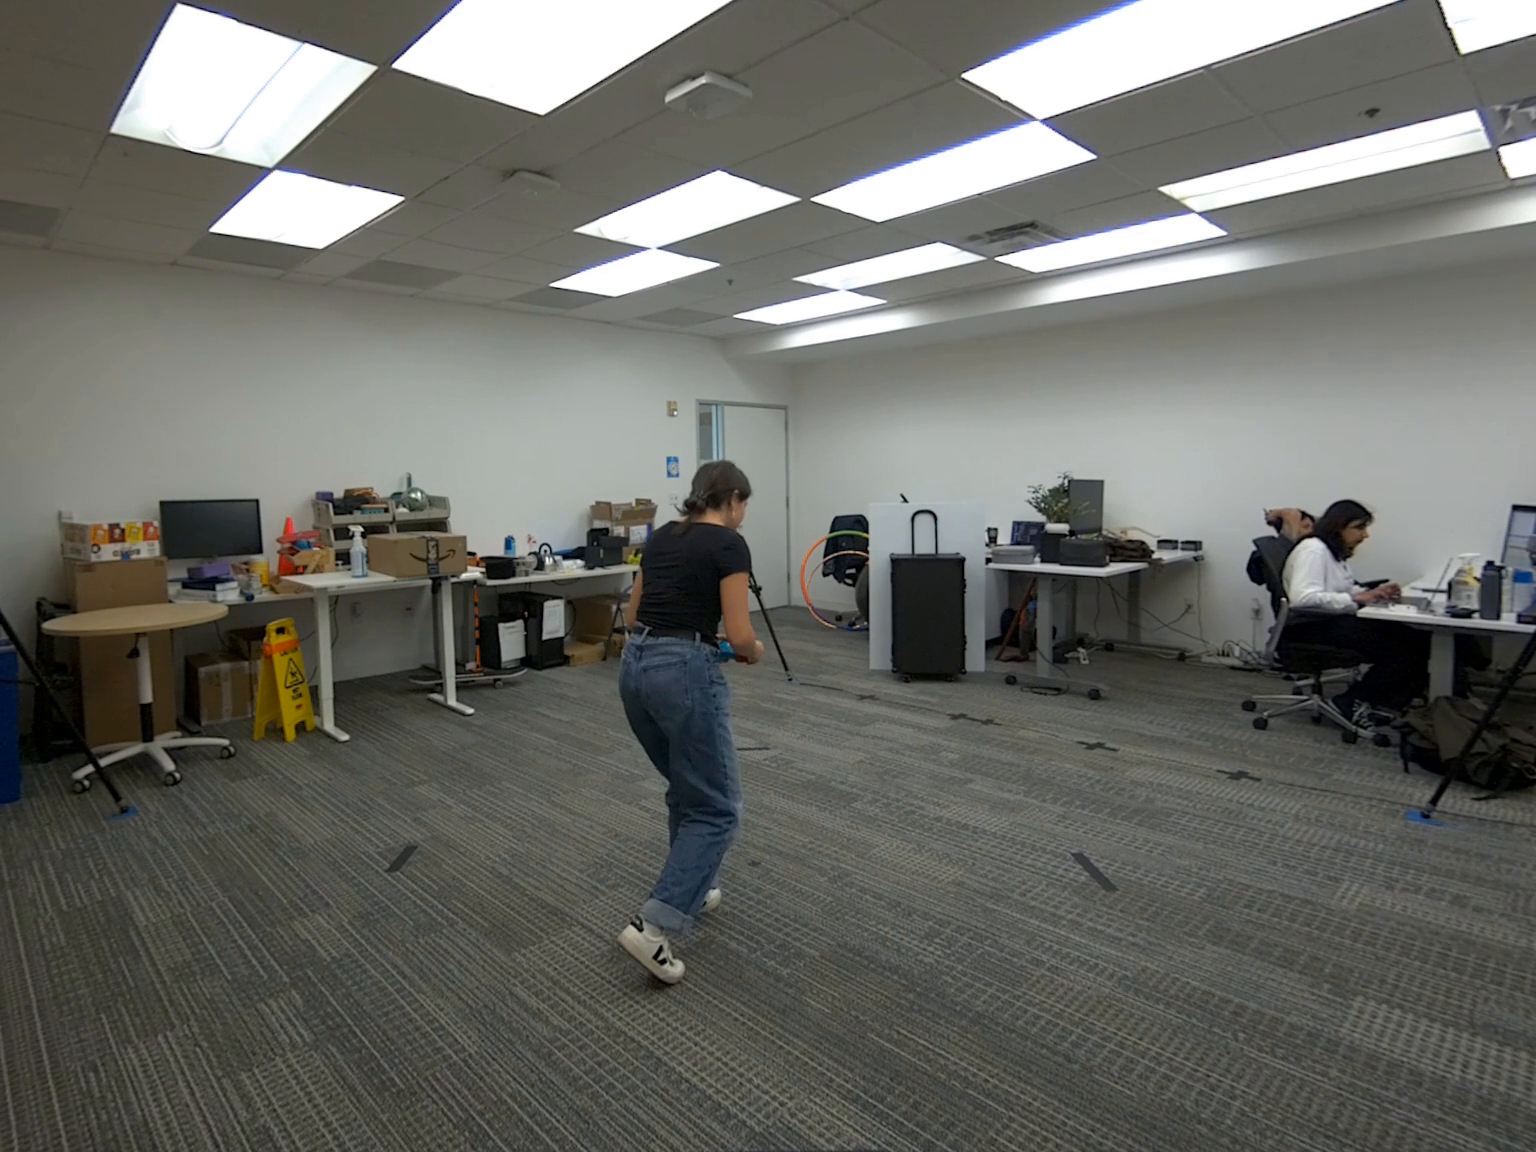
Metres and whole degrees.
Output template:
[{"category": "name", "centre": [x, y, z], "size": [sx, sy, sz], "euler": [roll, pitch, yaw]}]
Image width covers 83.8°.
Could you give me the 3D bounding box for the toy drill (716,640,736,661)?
[{"category": "toy drill", "centre": [-0.133, 0.276, 2.853], "size": [0.166, 0.060, 0.151], "euler": [-9, 18, -33]}]
